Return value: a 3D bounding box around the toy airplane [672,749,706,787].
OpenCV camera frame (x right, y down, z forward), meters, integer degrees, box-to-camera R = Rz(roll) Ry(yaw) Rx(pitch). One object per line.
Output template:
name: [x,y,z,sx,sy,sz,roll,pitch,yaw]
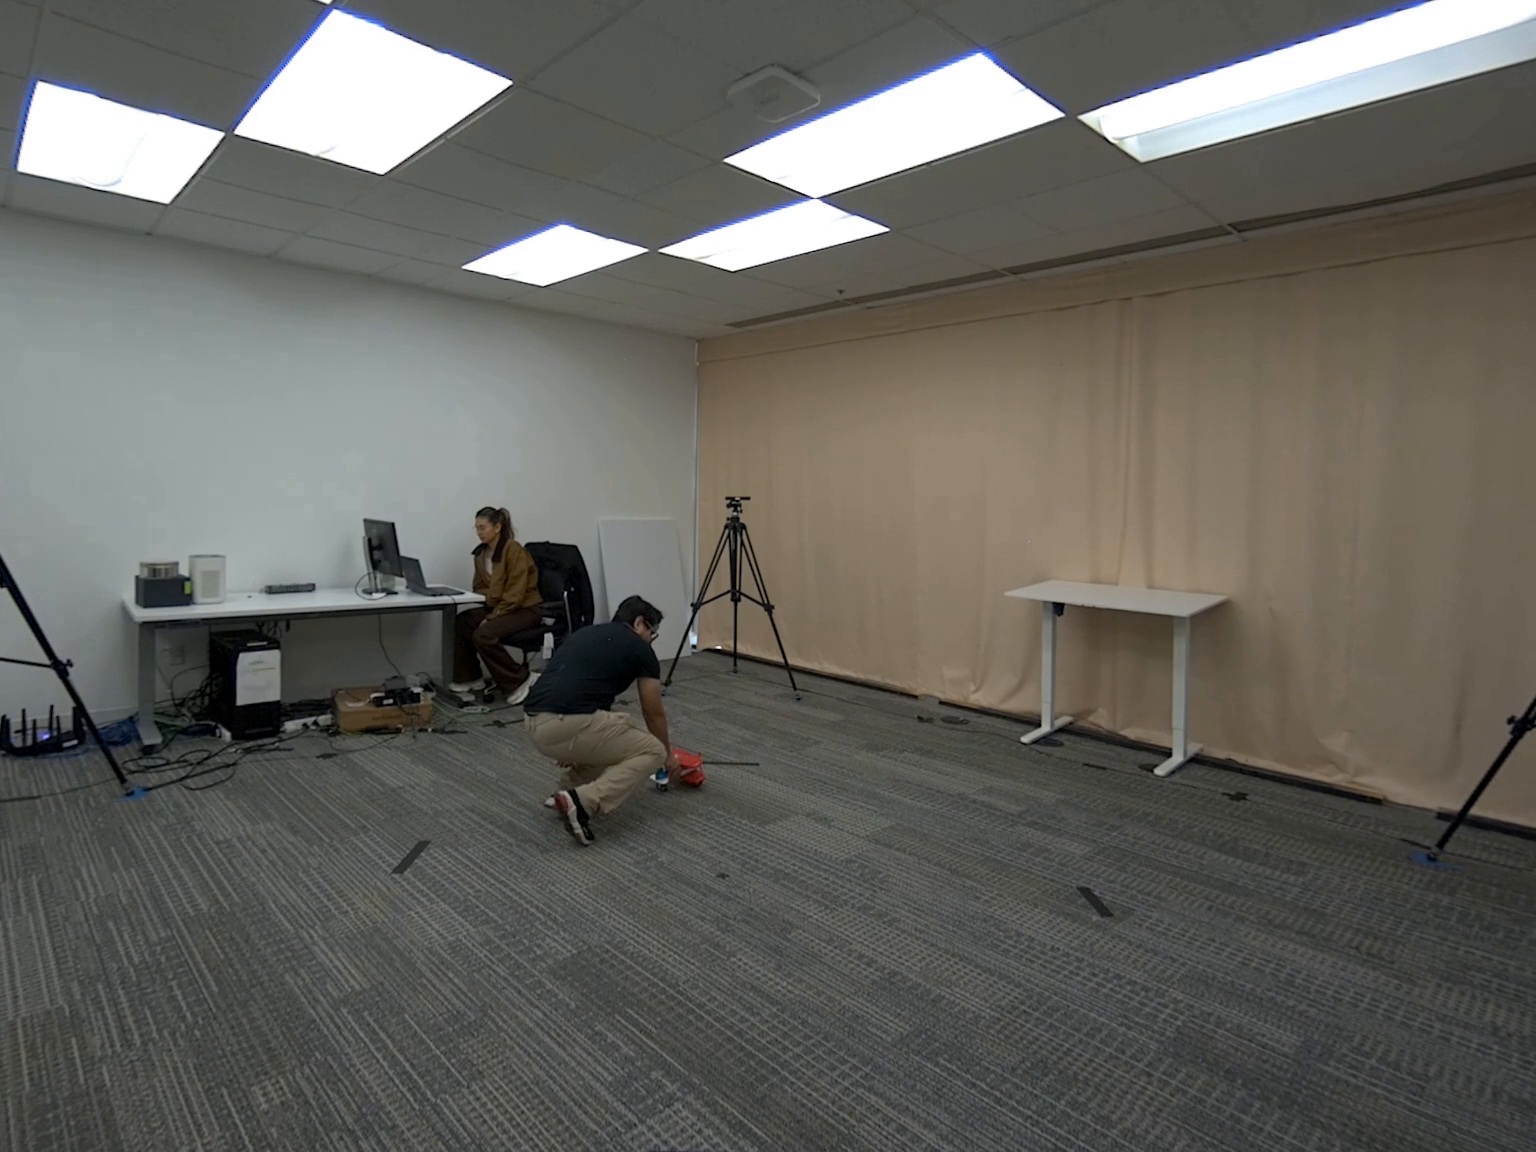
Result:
toy airplane: [-0.432,0.942,4.052,0.255,0.156,0.255,4,4,21]
